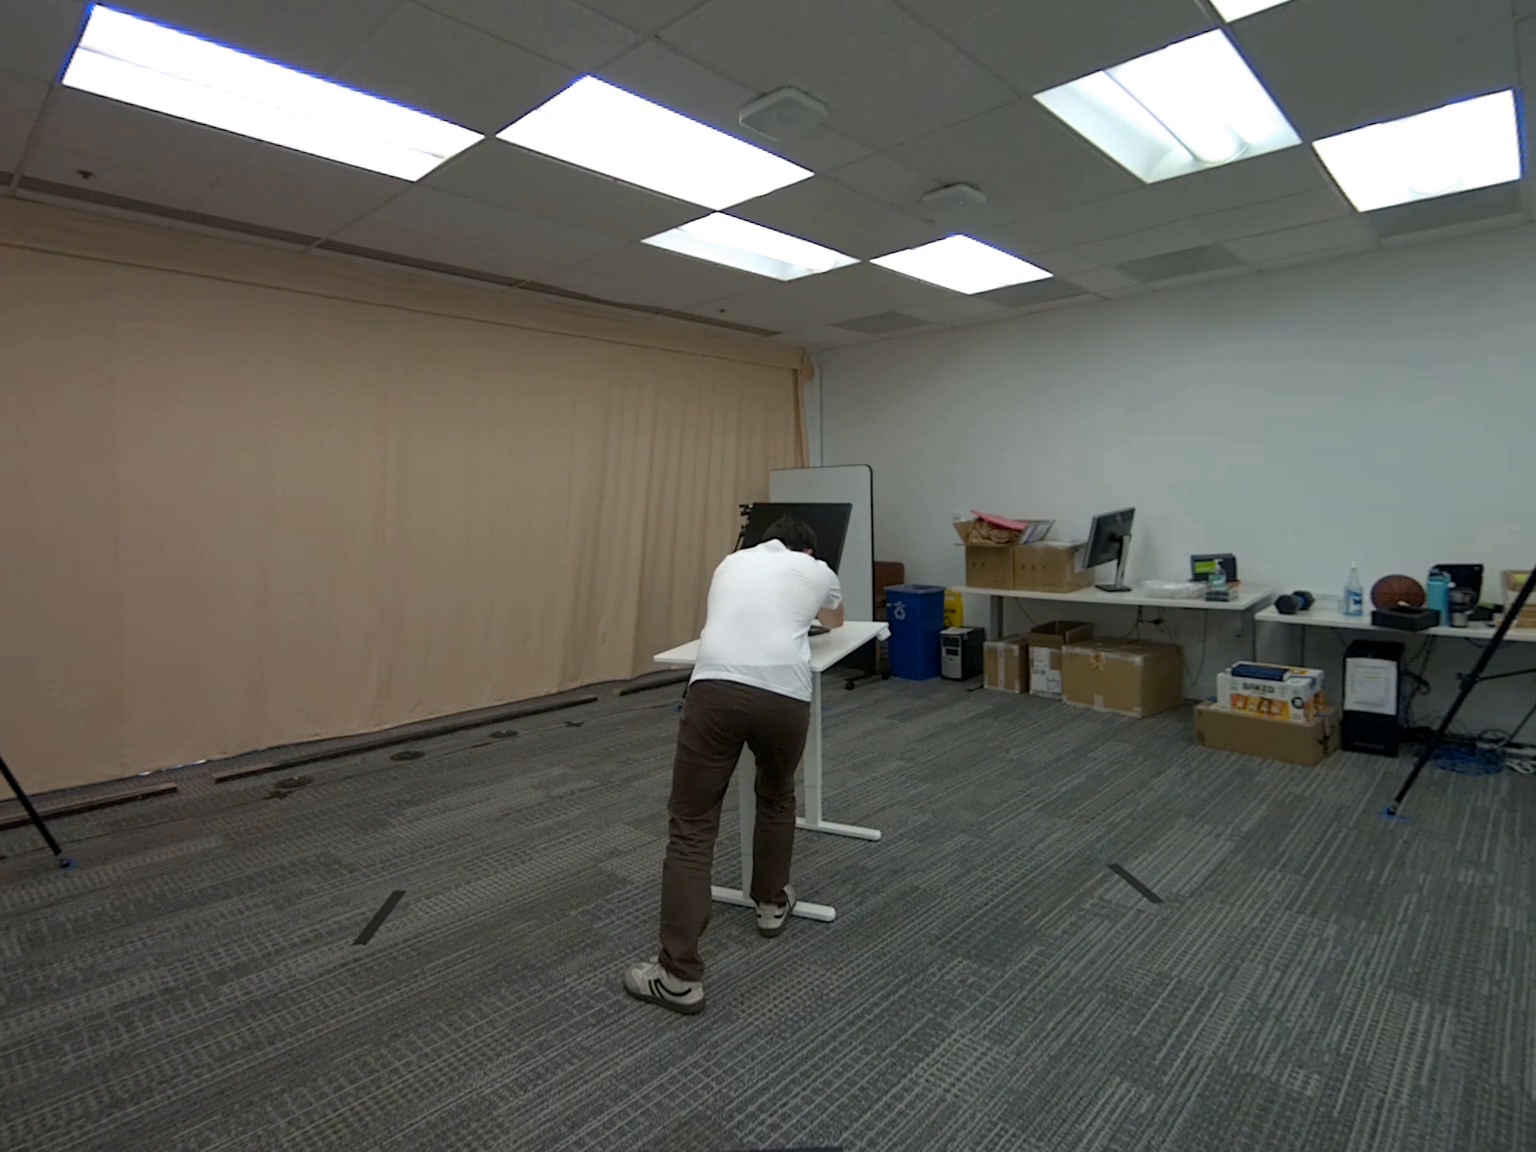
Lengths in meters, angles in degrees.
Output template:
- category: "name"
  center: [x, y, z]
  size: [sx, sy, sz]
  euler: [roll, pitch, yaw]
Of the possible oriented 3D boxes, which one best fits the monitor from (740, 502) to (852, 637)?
- category: "monitor"
  center: [0.110, -0.037, 3.388]
  size: [0.557, 0.522, 0.181]
  euler: [5, 1, 44]
